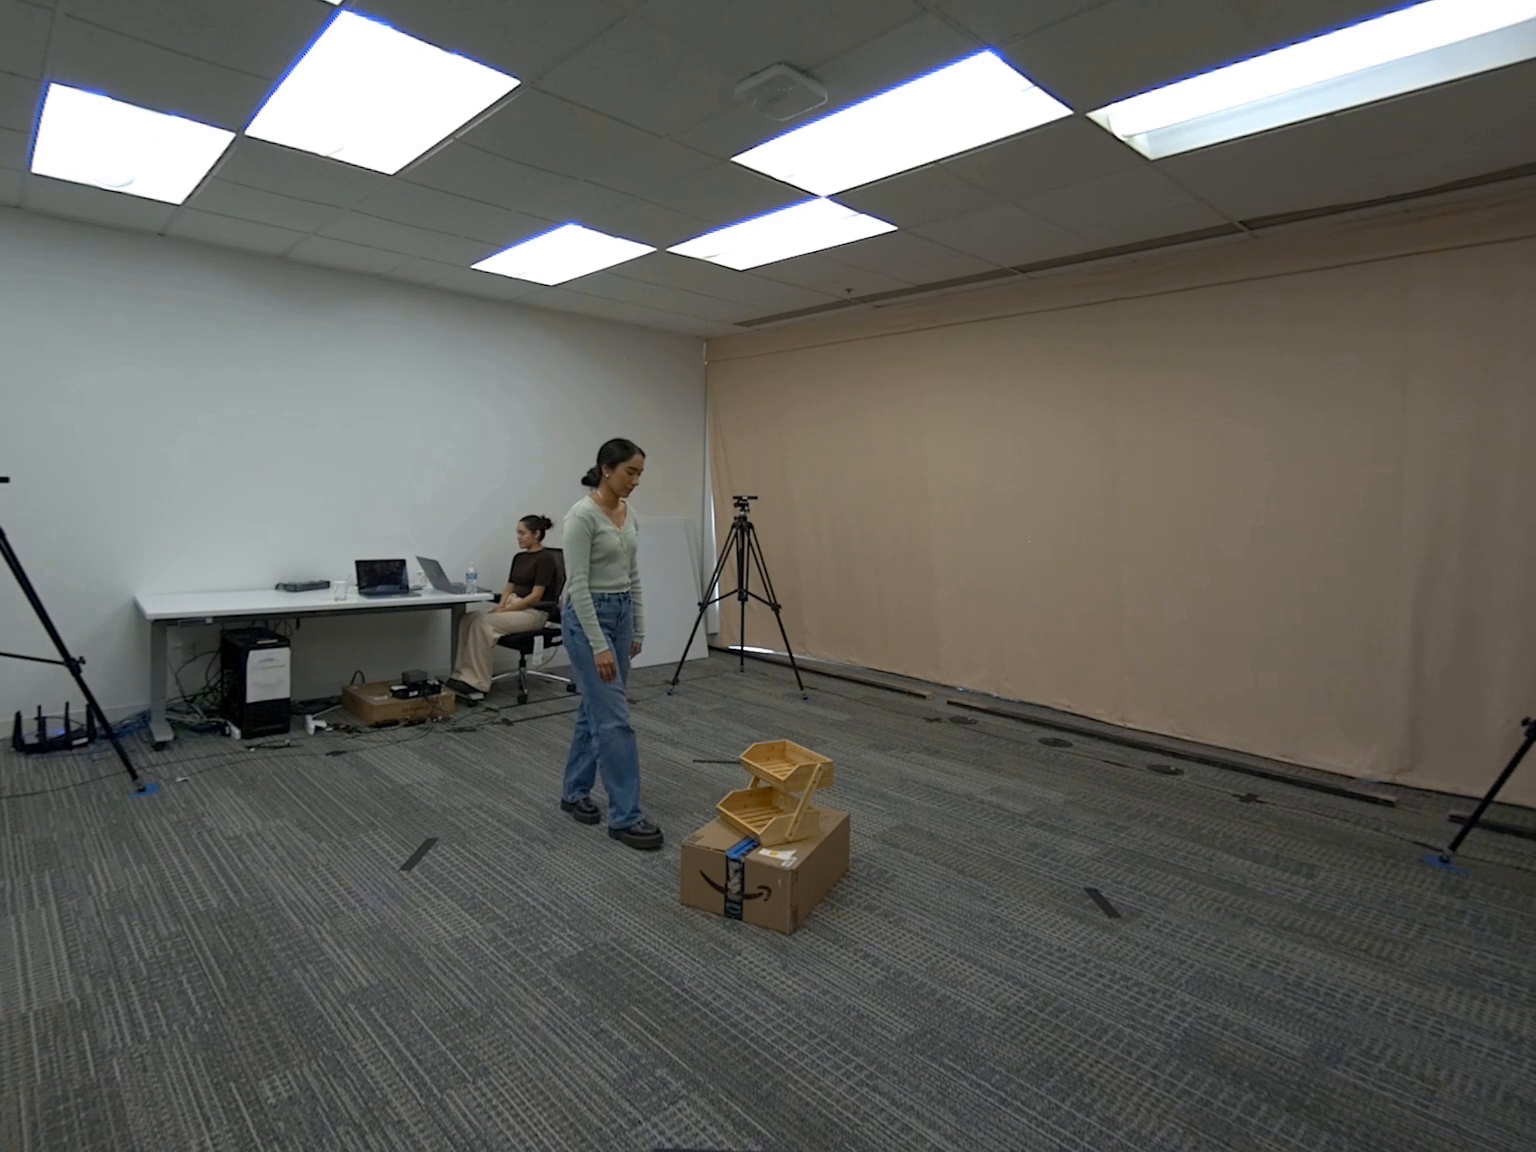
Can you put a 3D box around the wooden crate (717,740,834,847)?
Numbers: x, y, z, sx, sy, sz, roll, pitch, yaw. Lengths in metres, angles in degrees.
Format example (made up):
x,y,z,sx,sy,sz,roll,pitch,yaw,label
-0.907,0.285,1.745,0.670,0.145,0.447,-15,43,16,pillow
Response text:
x,y,z,sx,sy,sz,roll,pitch,yaw,label
0.013,0.767,3.024,0.296,0.273,0.332,0,4,-31,wooden crate
